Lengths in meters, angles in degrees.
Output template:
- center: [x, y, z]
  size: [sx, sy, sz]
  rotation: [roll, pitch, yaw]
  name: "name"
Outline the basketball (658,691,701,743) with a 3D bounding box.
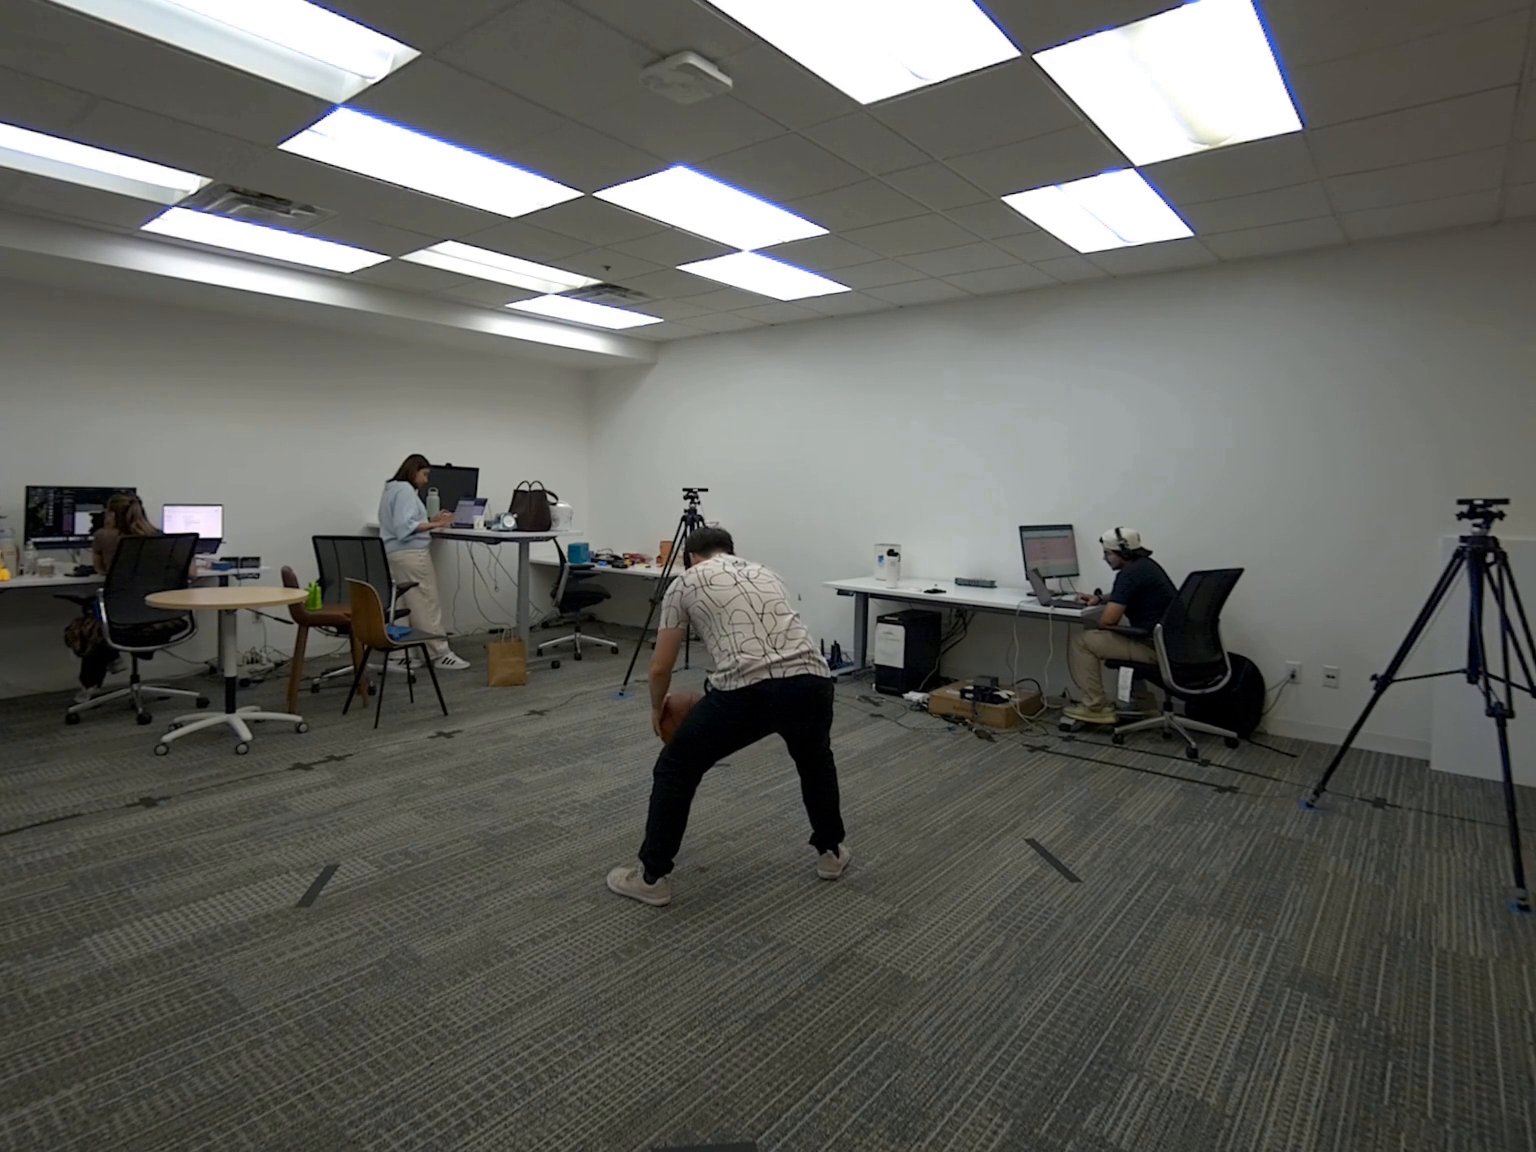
- center: [-0.325, 0.545, 3.290]
  size: [0.235, 0.235, 0.237]
  rotation: [1, 4, -2]
  name: "basketball"
